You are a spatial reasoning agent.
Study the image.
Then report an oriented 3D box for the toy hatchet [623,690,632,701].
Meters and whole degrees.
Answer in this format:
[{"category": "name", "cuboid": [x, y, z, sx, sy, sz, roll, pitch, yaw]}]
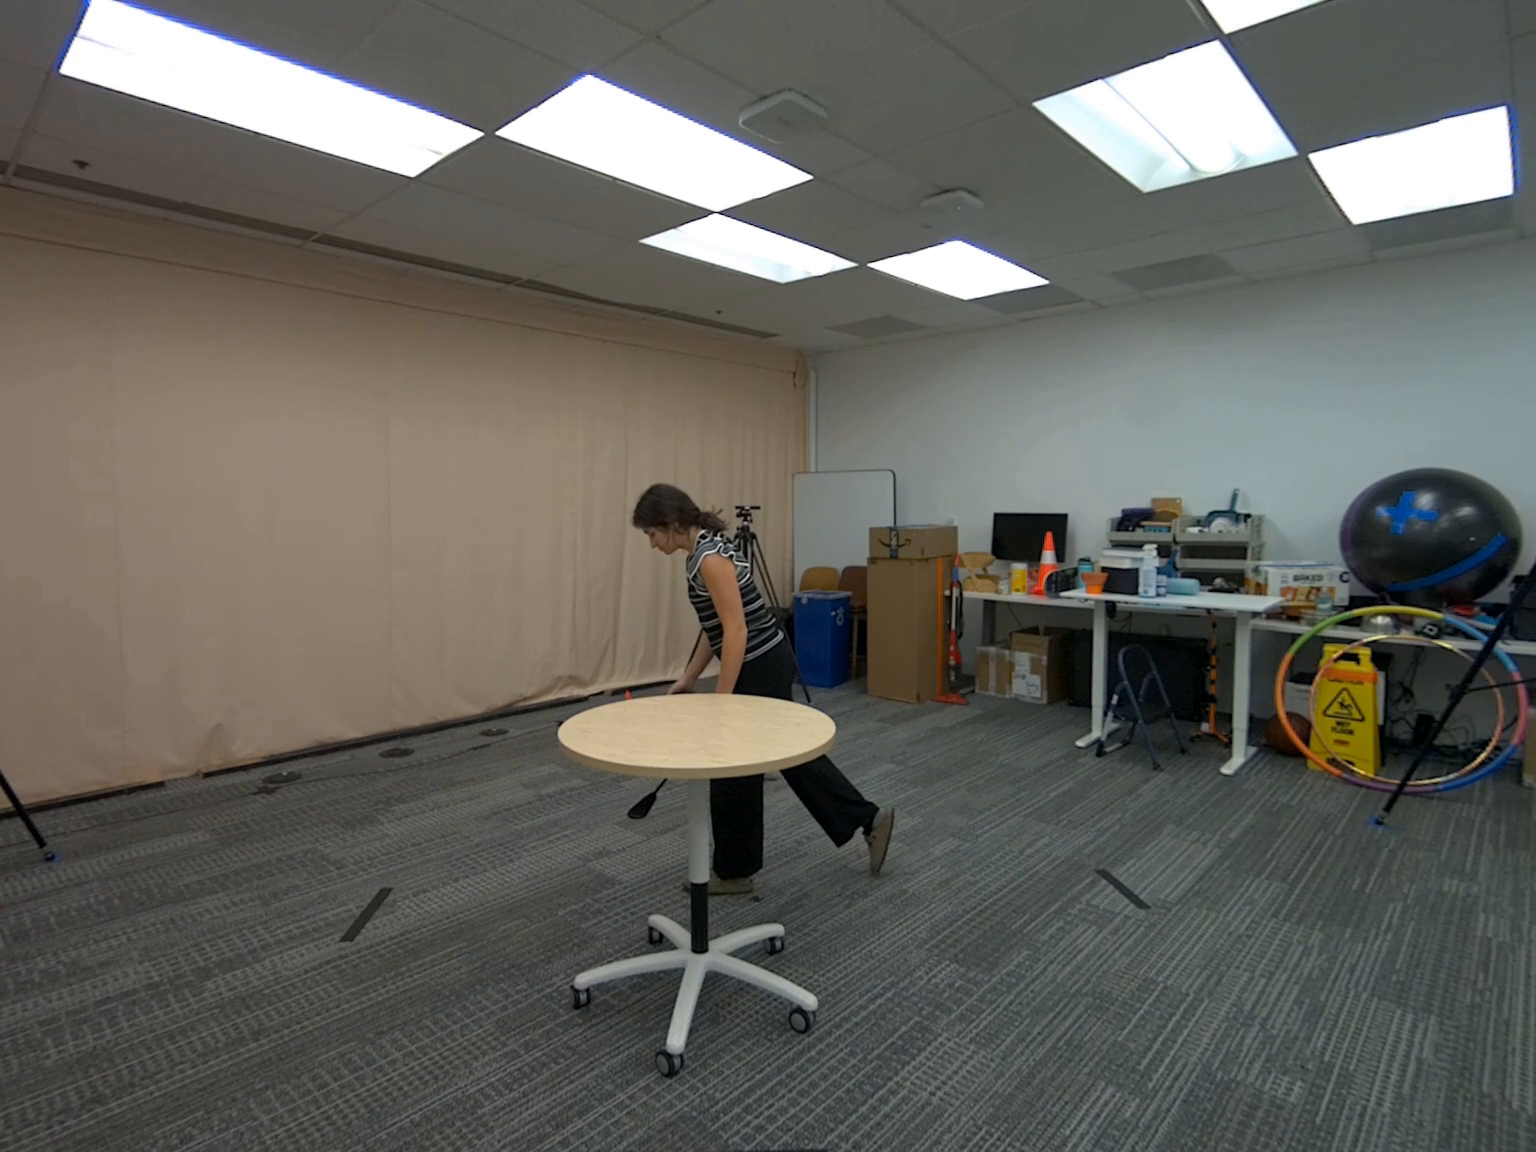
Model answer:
[{"category": "toy hatchet", "cuboid": [-0.412, 0.506, 3.234, 0.271, 0.130, 0.029, -4, 4, 5]}]
